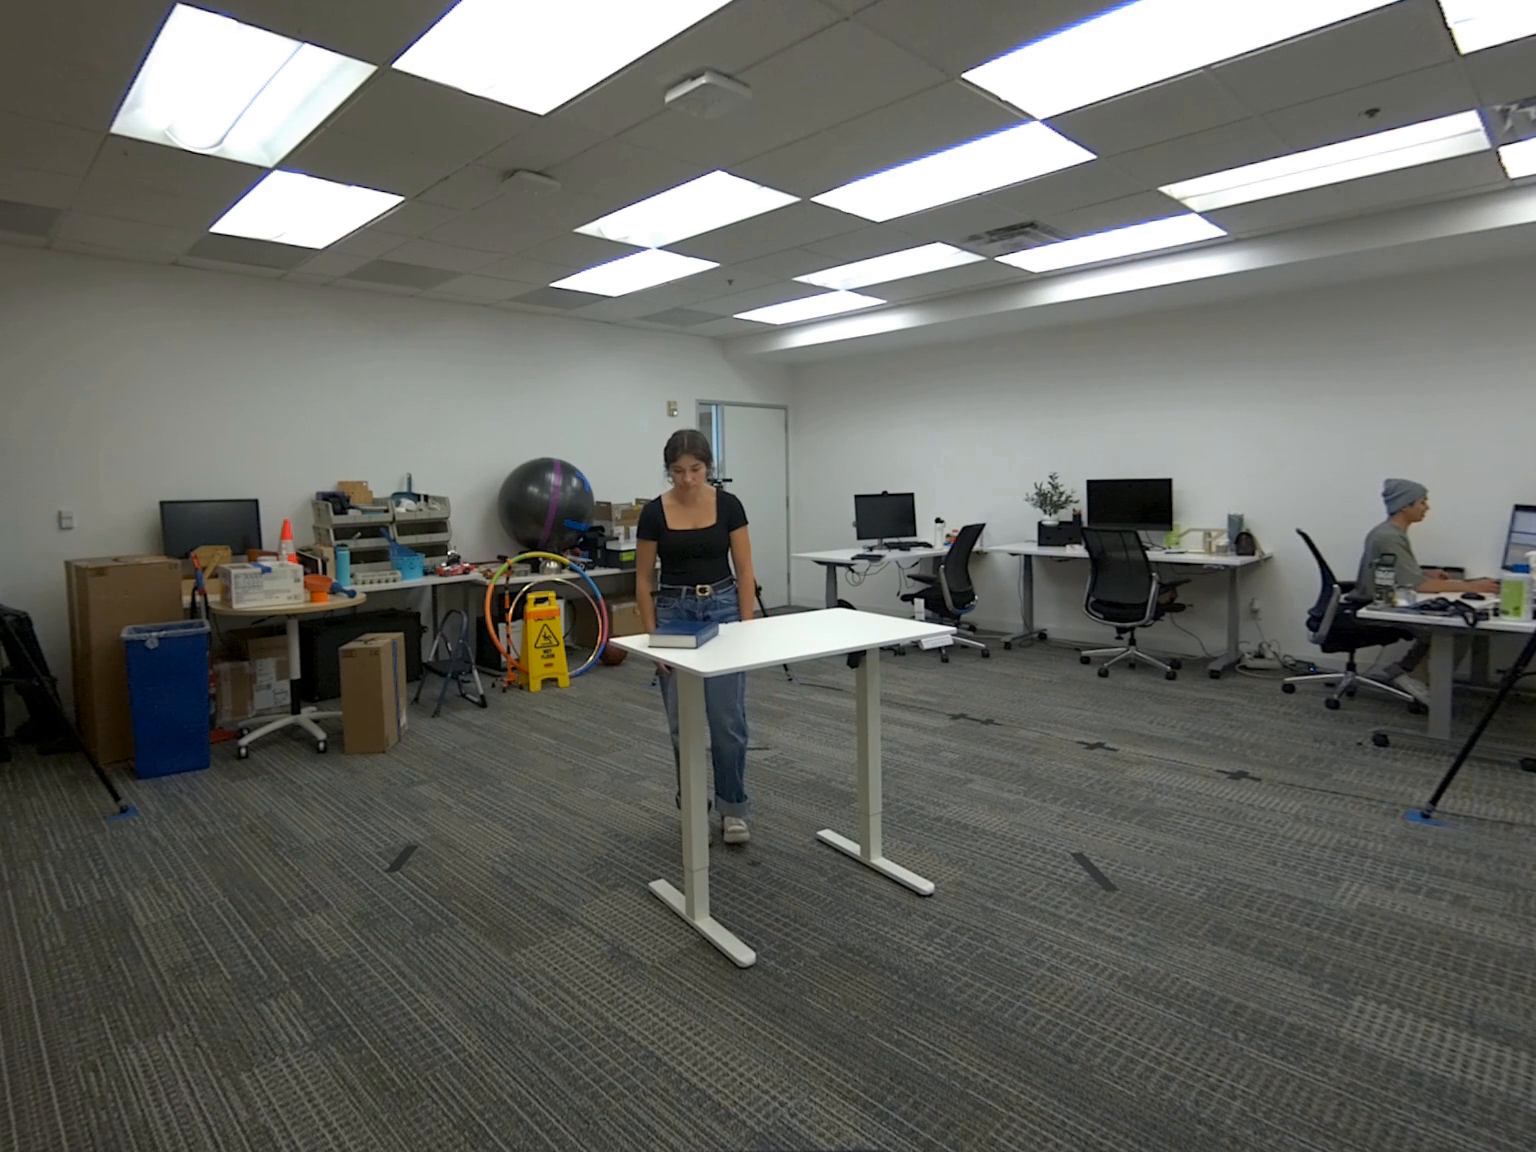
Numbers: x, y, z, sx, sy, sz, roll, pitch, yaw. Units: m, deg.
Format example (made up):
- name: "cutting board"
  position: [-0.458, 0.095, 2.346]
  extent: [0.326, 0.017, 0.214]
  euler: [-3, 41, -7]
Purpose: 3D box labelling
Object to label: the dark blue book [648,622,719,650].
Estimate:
- name: "dark blue book"
  position: [-0.261, 0.192, 2.749]
  extent: [0.166, 0.045, 0.243]
  euler: [0, 8, 15]
